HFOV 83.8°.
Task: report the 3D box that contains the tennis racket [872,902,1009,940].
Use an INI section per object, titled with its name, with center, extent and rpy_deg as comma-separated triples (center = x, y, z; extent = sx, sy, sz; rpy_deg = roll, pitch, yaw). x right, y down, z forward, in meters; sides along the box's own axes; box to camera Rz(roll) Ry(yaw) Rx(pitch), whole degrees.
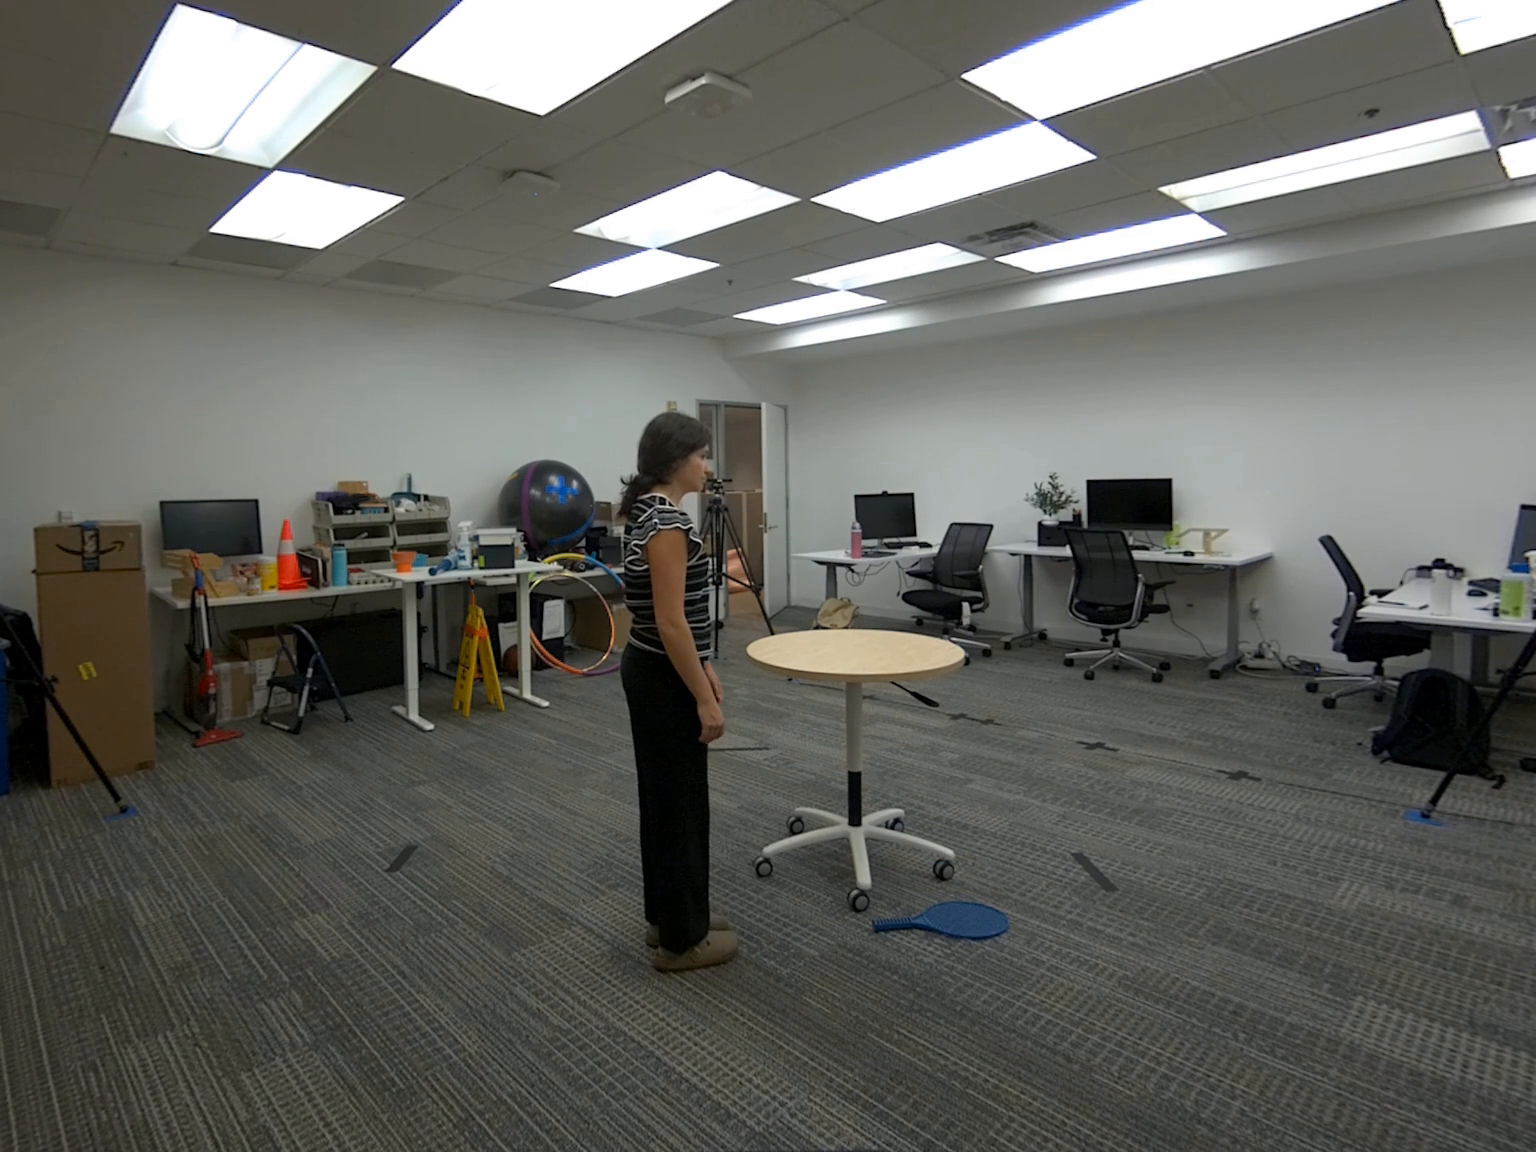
[tennis racket]
center = 0.523, 1.048, 2.689
extent = 0.430, 0.031, 0.216
rpy_deg = -1, 7, -6
